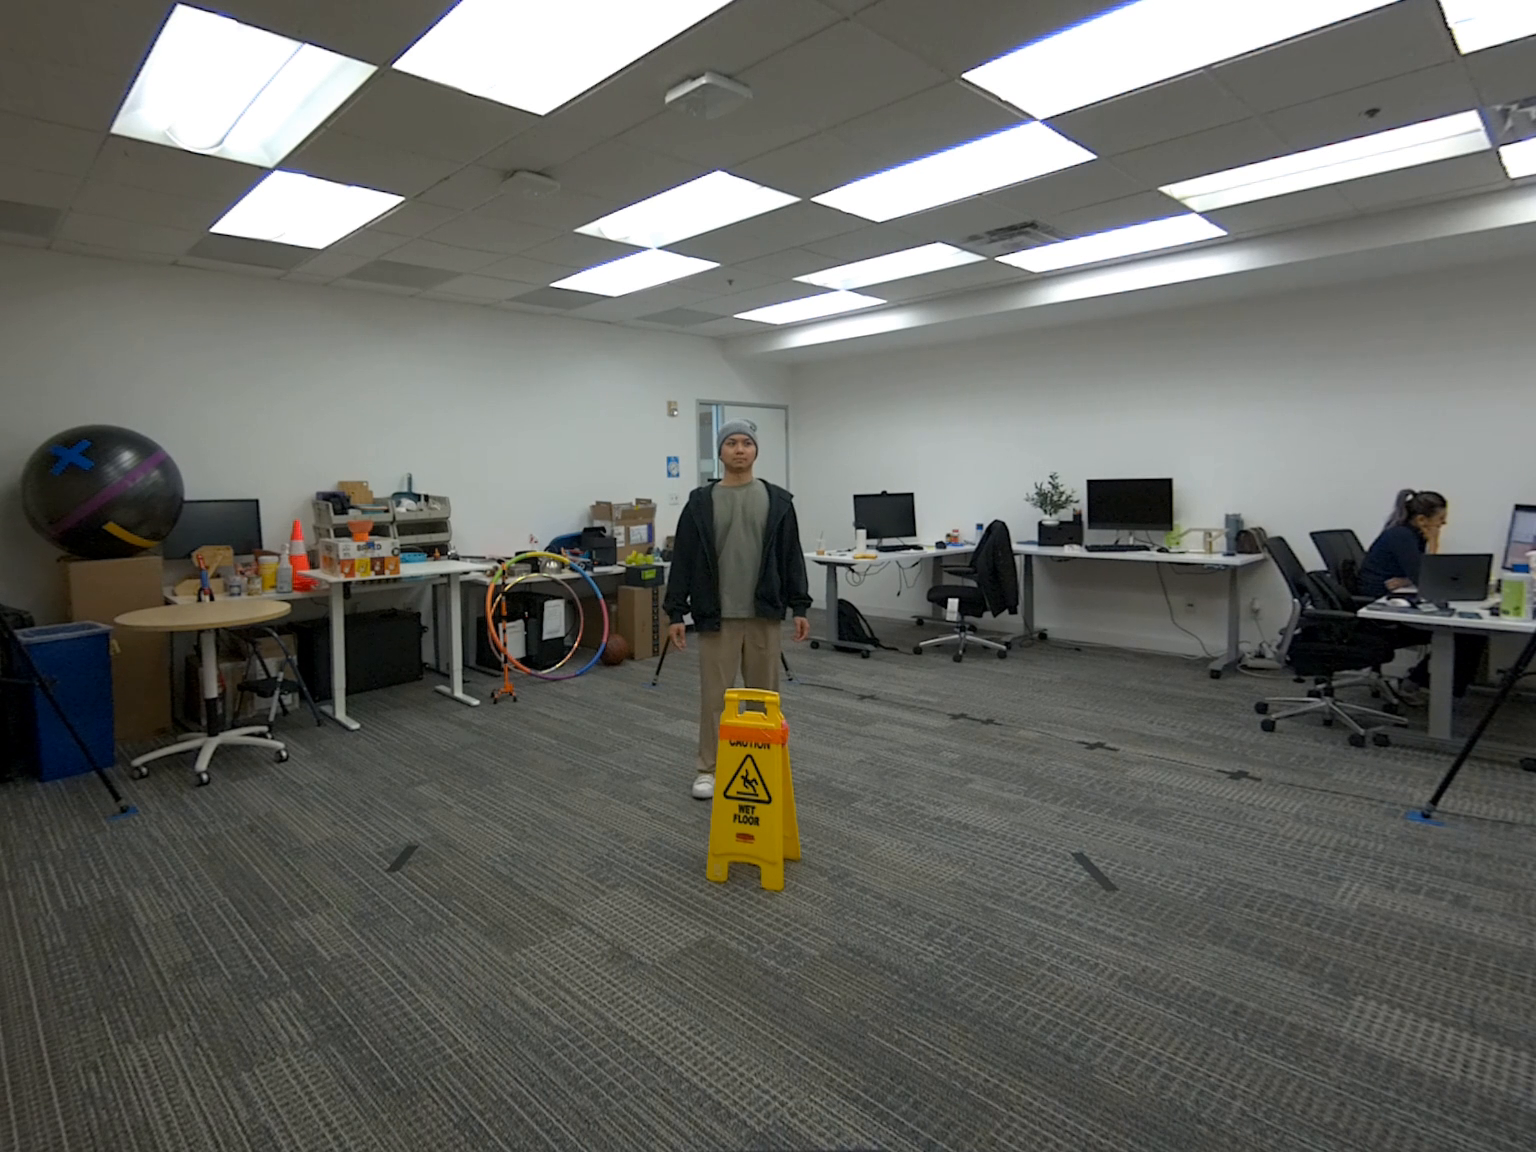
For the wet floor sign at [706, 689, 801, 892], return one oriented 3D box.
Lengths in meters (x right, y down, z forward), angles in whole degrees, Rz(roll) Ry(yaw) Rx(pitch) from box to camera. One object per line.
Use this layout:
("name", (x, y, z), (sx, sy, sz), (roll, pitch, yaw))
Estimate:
("wet floor sign", (-0.054, 0.731, 3.036), (0.287, 0.644, 0.286), (-1, 4, 19))
